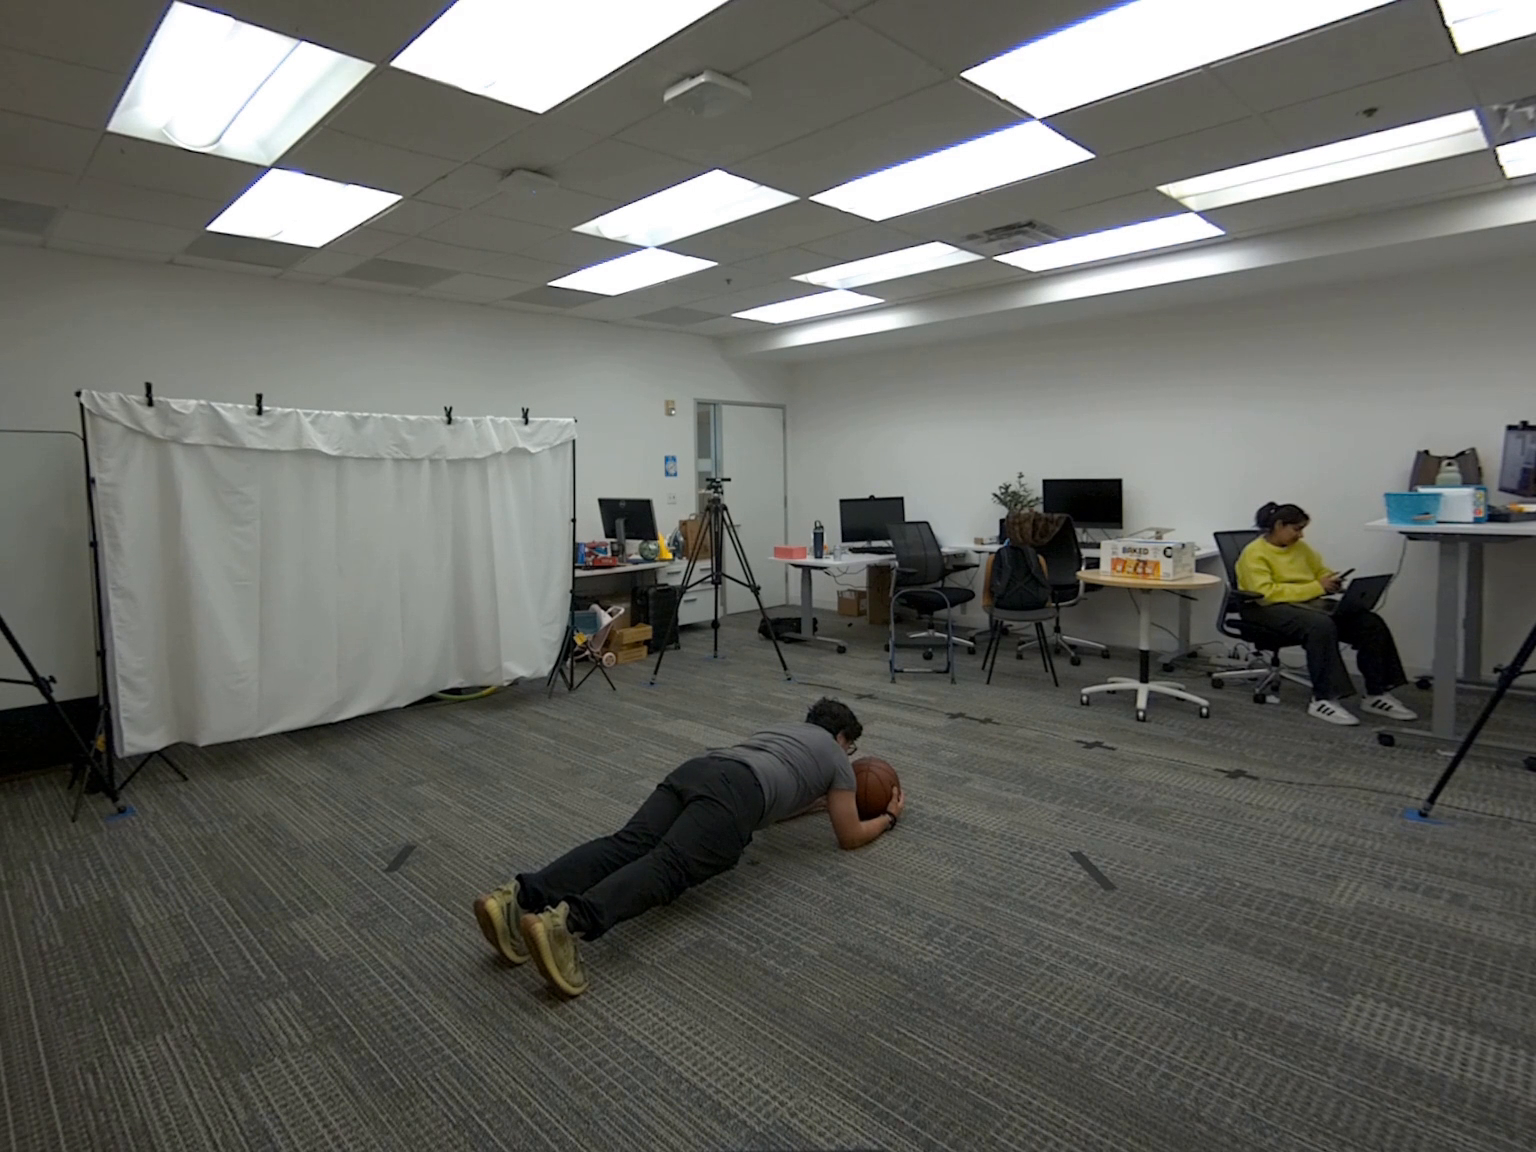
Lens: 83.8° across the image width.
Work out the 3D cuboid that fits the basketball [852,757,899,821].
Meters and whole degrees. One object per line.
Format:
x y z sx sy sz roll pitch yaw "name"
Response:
0.417 0.864 3.518 0.236 0.235 0.237 -1 5 -2 "basketball"
